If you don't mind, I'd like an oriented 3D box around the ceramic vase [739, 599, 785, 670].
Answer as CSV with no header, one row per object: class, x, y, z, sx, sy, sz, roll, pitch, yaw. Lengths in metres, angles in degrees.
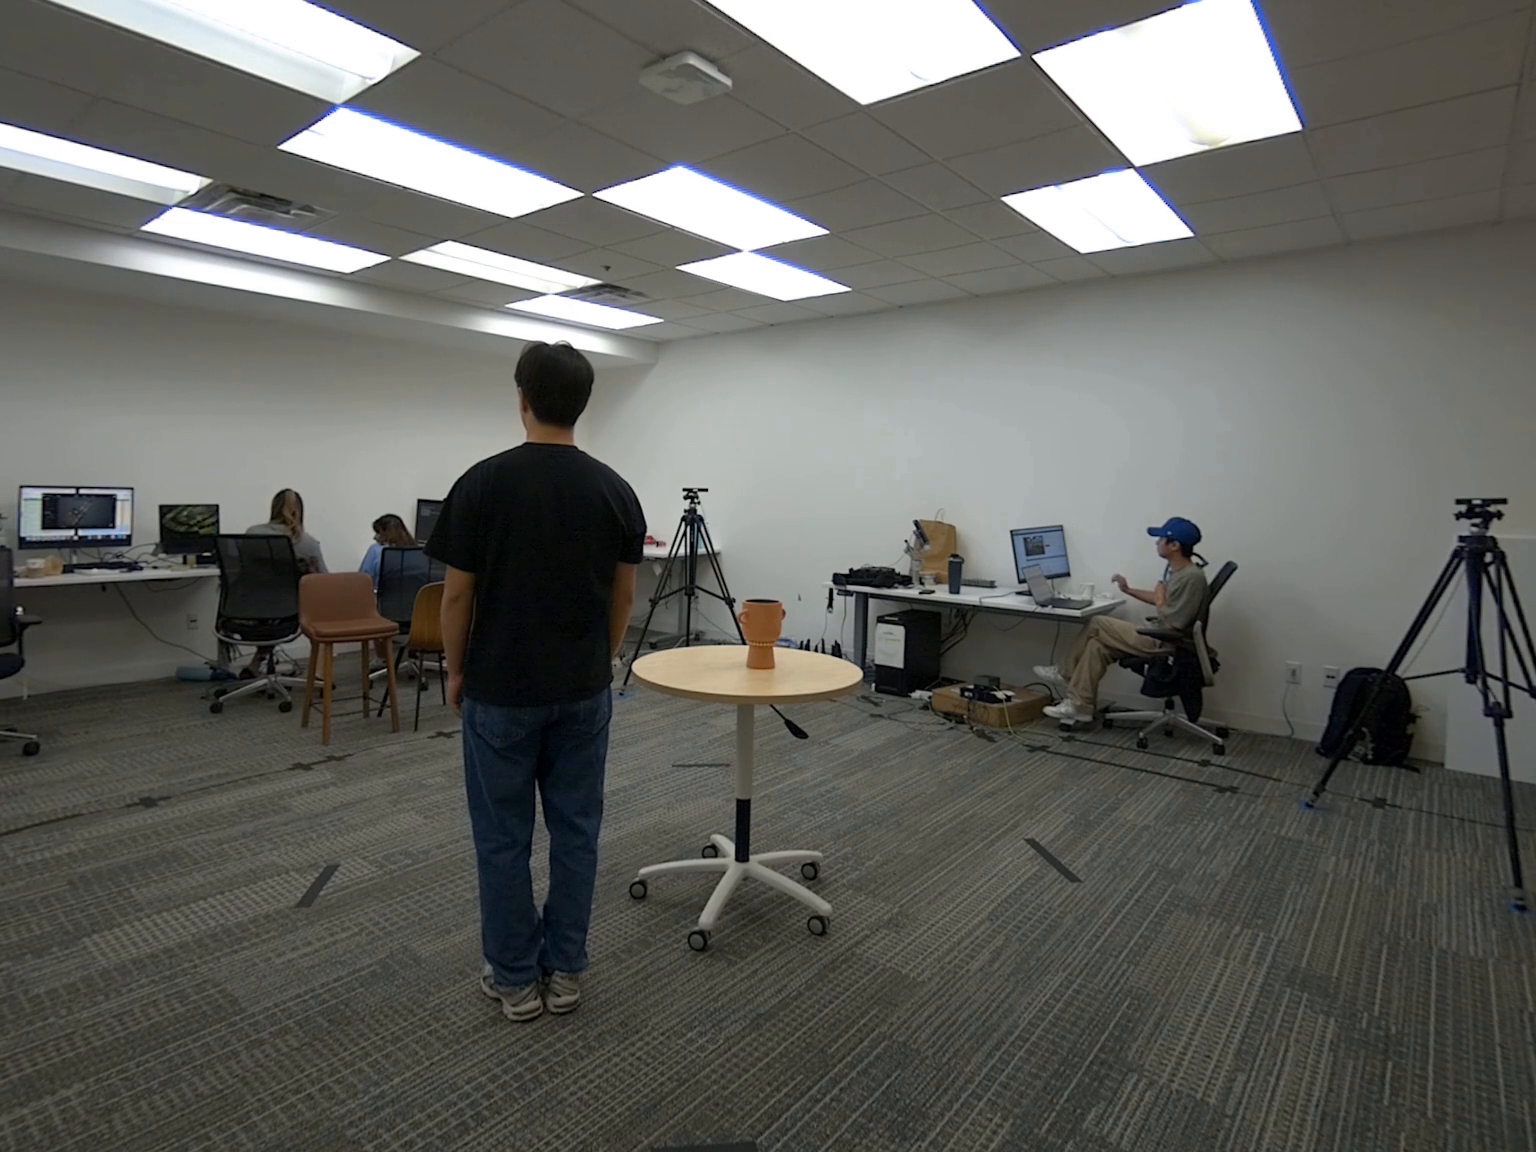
ceramic vase,-0.030,0.193,2.852,0.160,0.219,0.134,2,3,4
